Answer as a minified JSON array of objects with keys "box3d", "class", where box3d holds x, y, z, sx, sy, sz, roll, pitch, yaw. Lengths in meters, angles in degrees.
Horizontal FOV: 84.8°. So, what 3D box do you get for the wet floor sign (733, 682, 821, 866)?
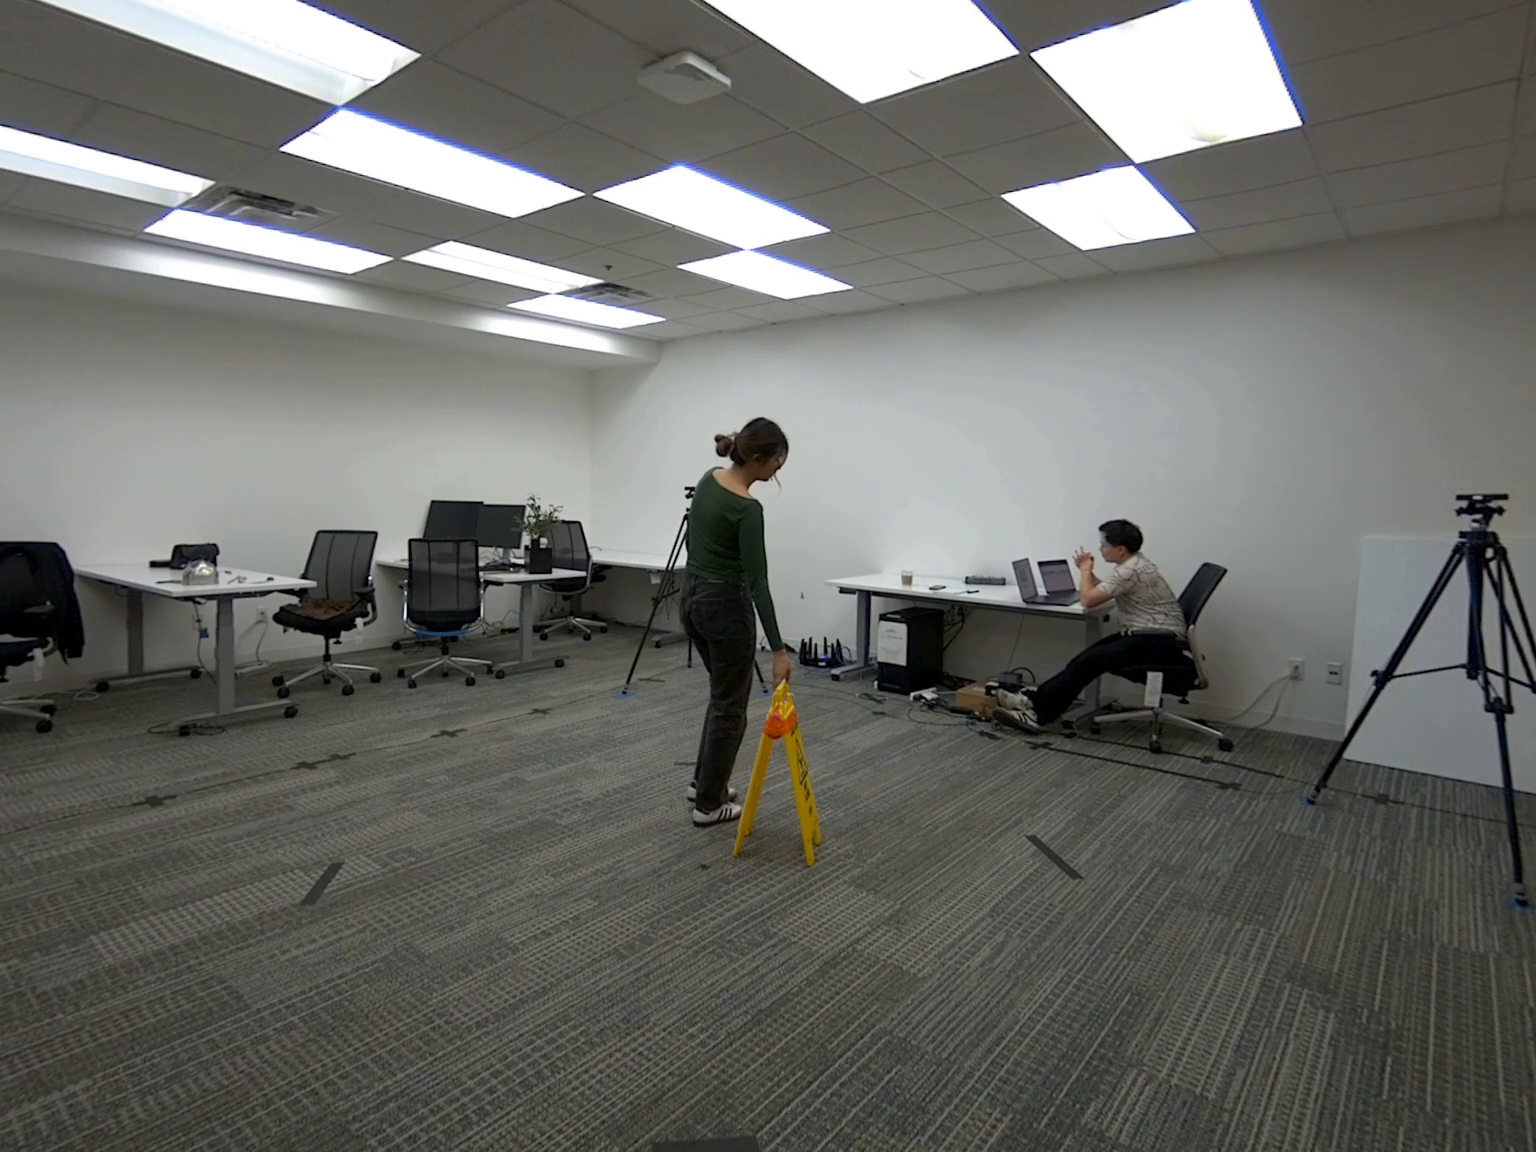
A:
[{"box3d":[0.034,0.726,3.286,0.294,0.645,0.278,1,2,13],"class":"wet floor sign"}]
